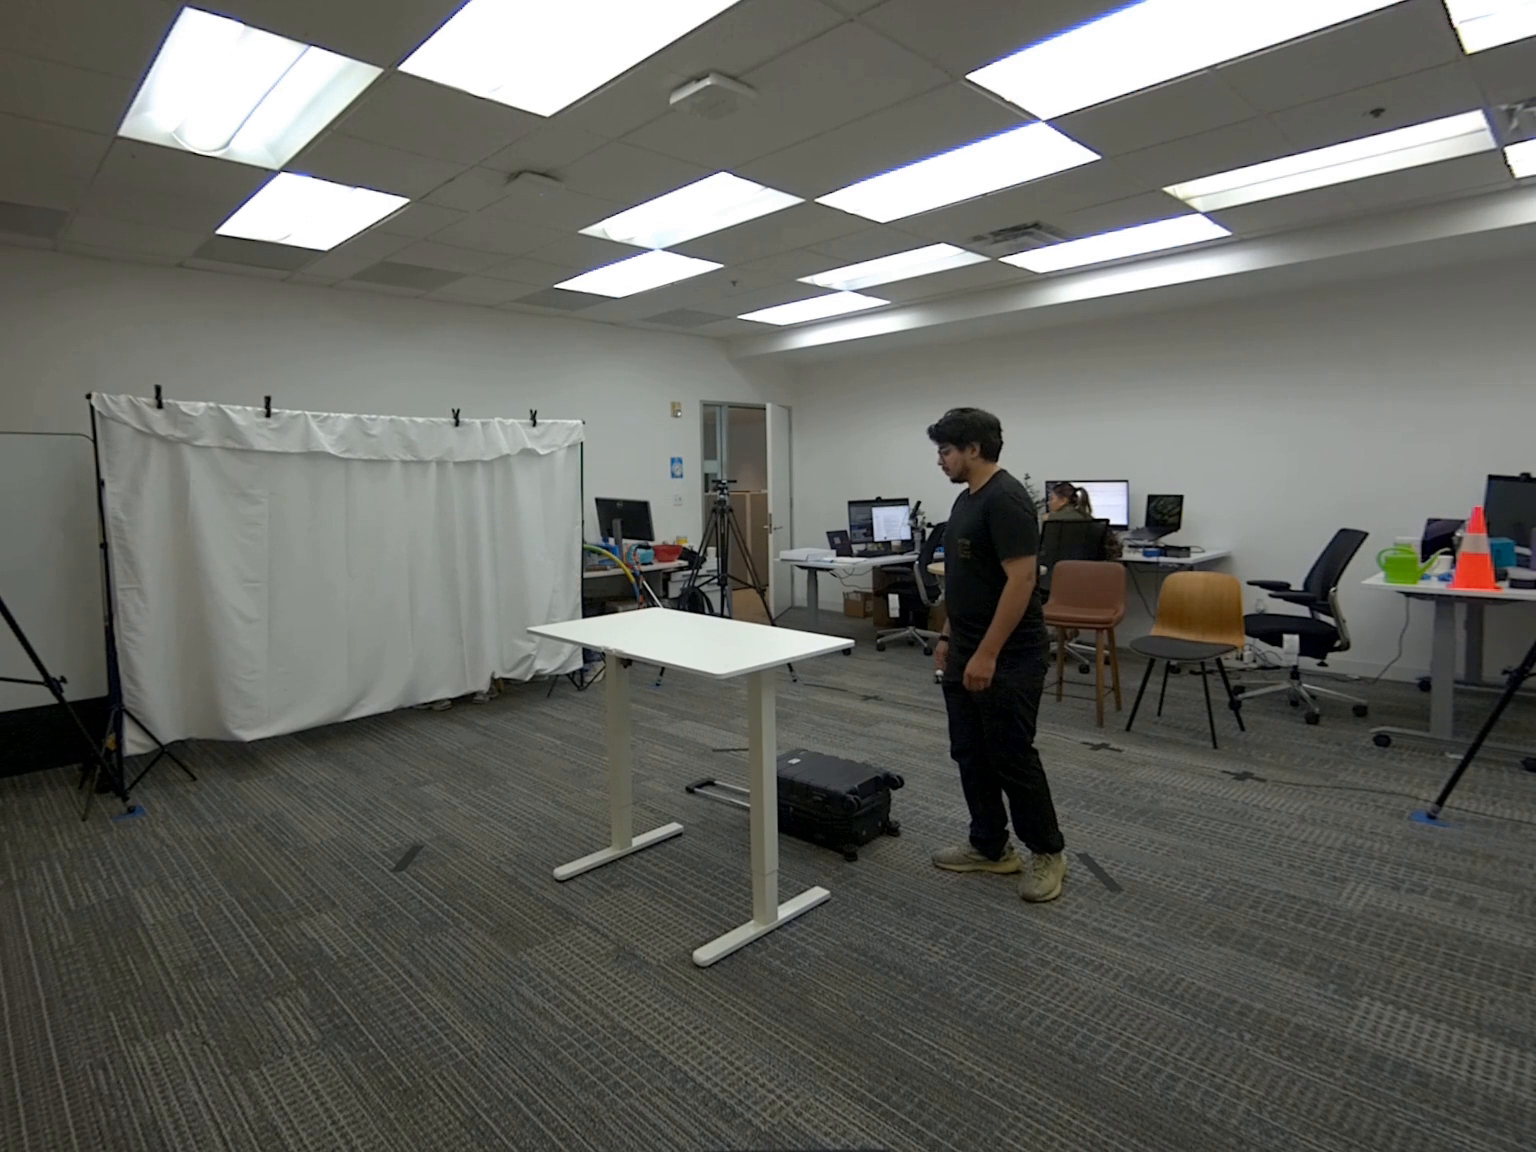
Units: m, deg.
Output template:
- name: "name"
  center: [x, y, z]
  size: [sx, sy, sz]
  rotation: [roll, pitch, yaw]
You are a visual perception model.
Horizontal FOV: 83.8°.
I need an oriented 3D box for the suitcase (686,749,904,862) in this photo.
- name: "suitcase"
  center: [0.059, 0.870, 3.565]
  size: [1.009, 0.255, 0.374]
  rotation: [6, 10, 41]
